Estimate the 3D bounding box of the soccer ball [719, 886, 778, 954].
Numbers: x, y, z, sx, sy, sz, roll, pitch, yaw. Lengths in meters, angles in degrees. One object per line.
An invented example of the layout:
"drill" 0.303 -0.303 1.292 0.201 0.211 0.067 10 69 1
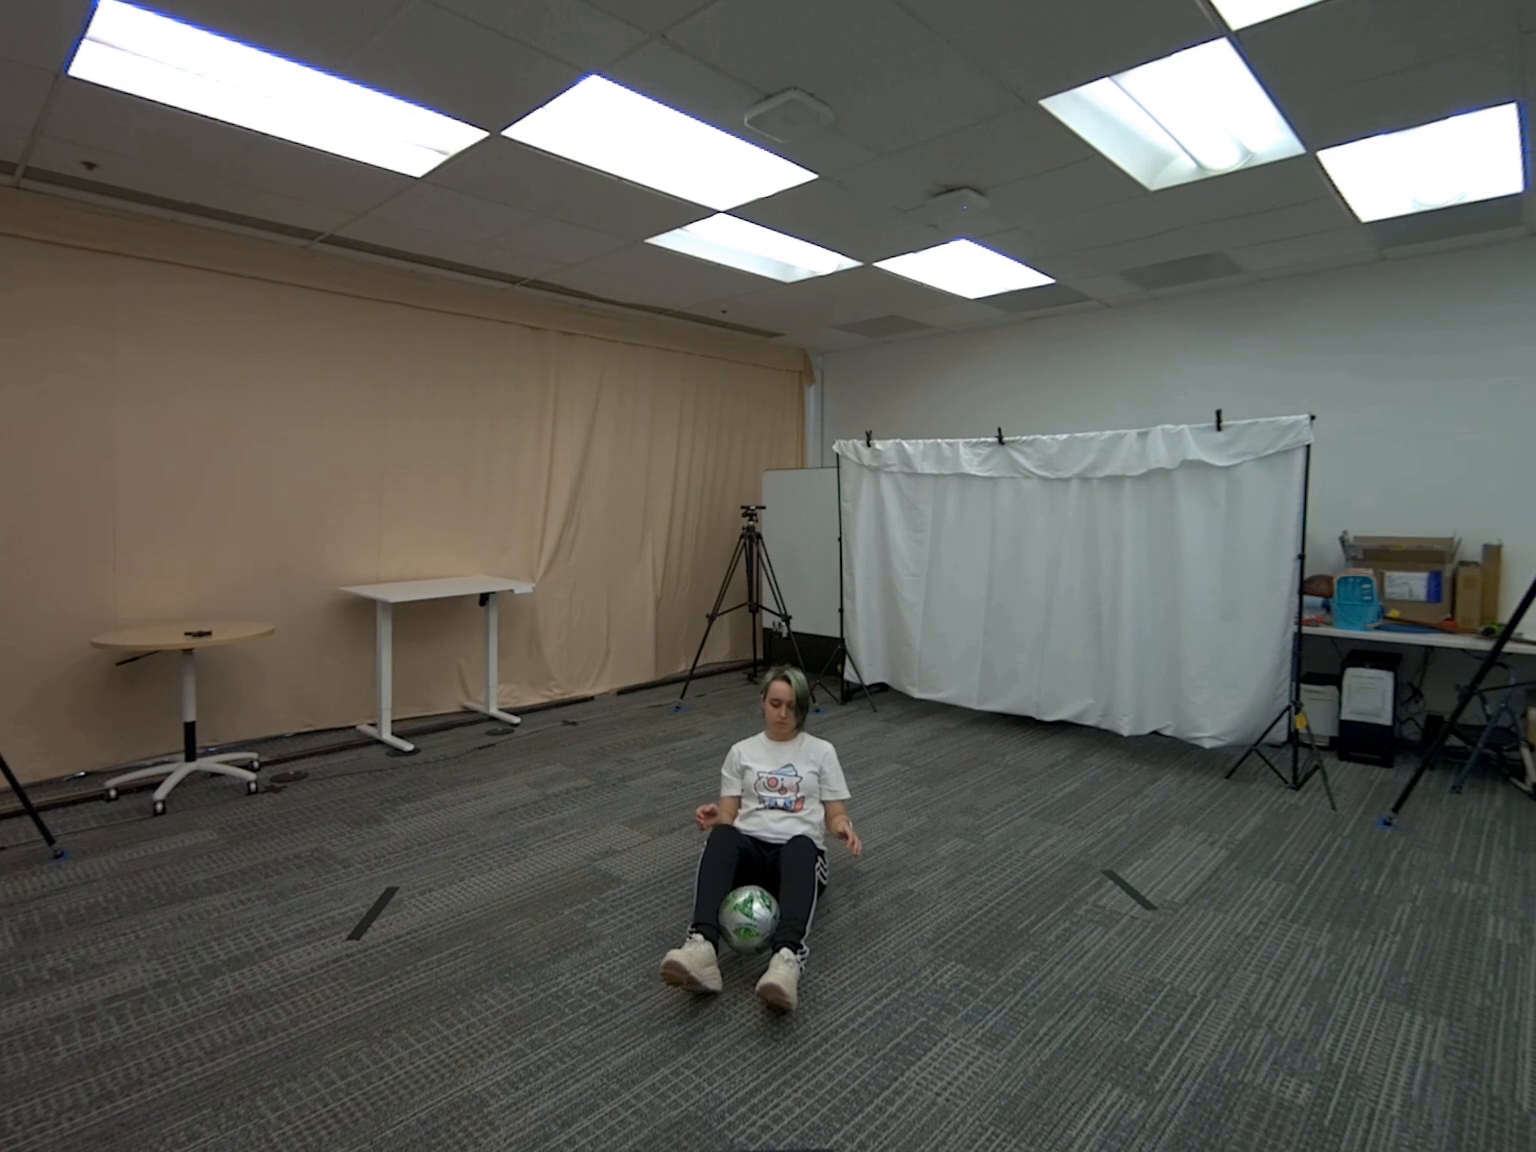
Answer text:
"soccer ball" -0.048 1.005 2.482 0.187 0.187 0.188 0 4 -2
